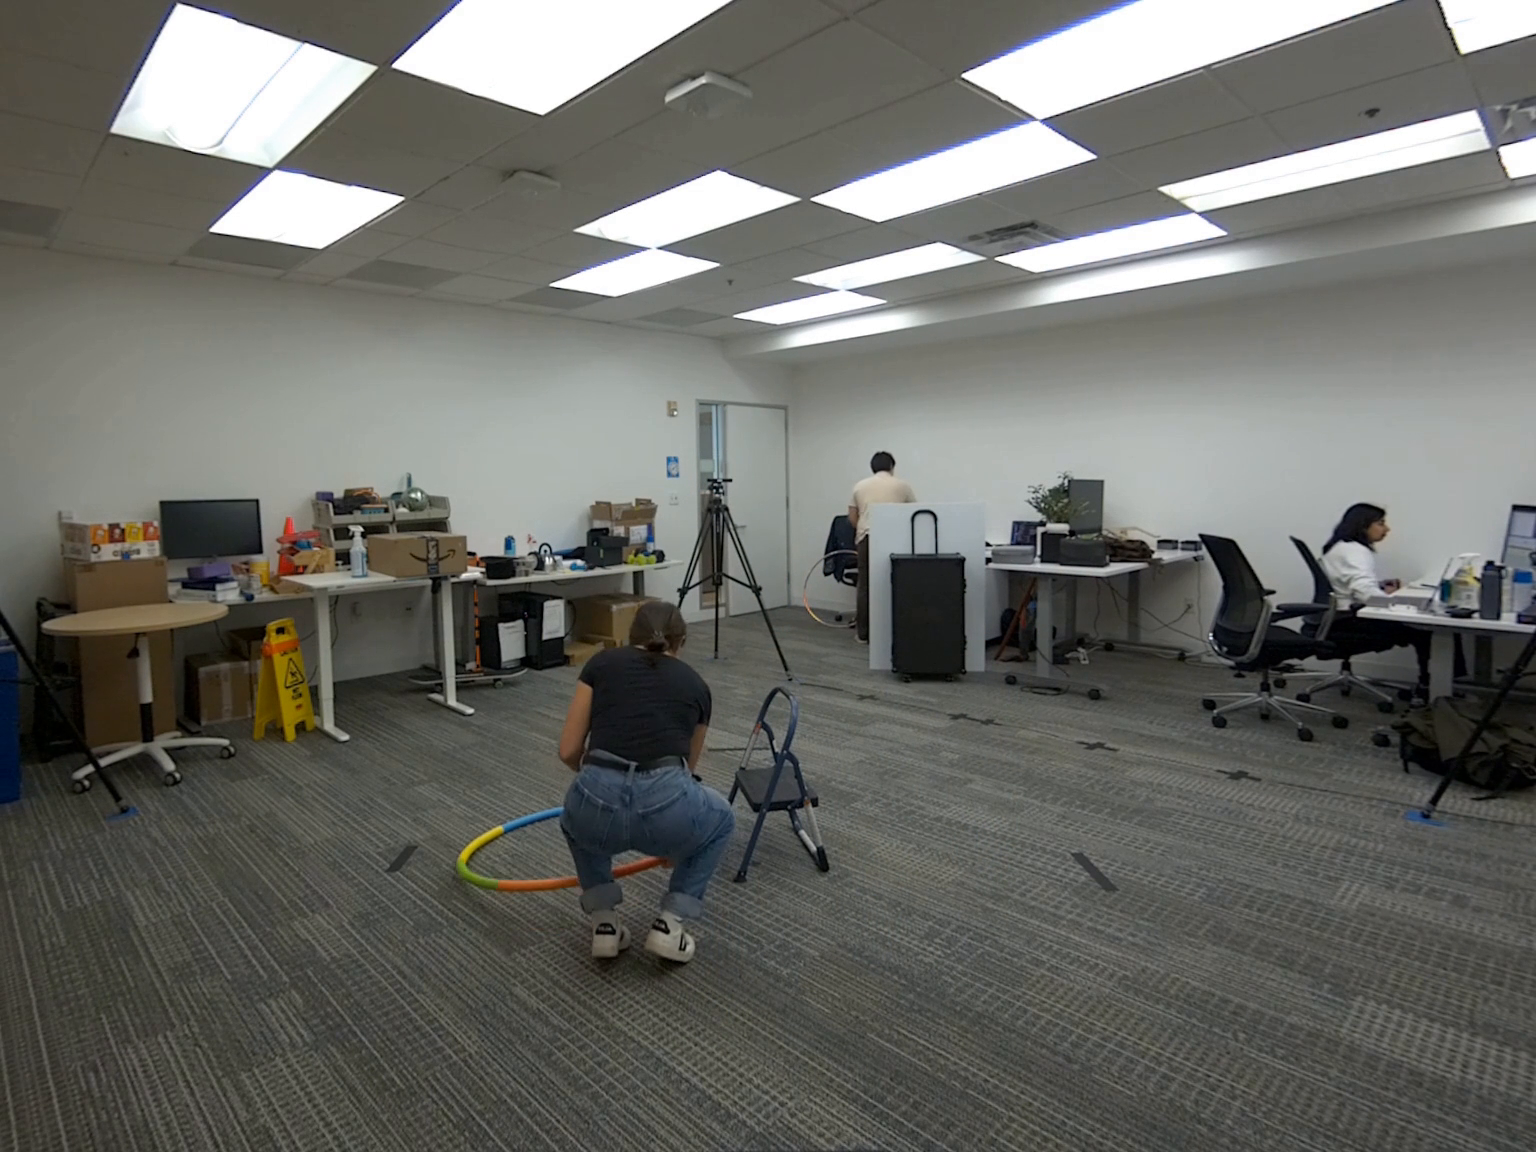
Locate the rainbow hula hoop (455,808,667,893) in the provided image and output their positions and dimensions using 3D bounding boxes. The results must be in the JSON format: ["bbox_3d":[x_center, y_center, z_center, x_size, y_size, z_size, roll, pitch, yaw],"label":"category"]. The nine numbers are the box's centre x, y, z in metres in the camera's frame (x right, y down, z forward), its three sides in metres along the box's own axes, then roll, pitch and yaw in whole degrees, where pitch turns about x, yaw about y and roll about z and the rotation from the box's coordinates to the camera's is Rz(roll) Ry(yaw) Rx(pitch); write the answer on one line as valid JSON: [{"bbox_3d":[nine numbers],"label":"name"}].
[{"bbox_3d":[-0.642,0.955,3.172,0.978,0.035,0.978,-7,0,-2],"label":"rainbow hula hoop"}]
